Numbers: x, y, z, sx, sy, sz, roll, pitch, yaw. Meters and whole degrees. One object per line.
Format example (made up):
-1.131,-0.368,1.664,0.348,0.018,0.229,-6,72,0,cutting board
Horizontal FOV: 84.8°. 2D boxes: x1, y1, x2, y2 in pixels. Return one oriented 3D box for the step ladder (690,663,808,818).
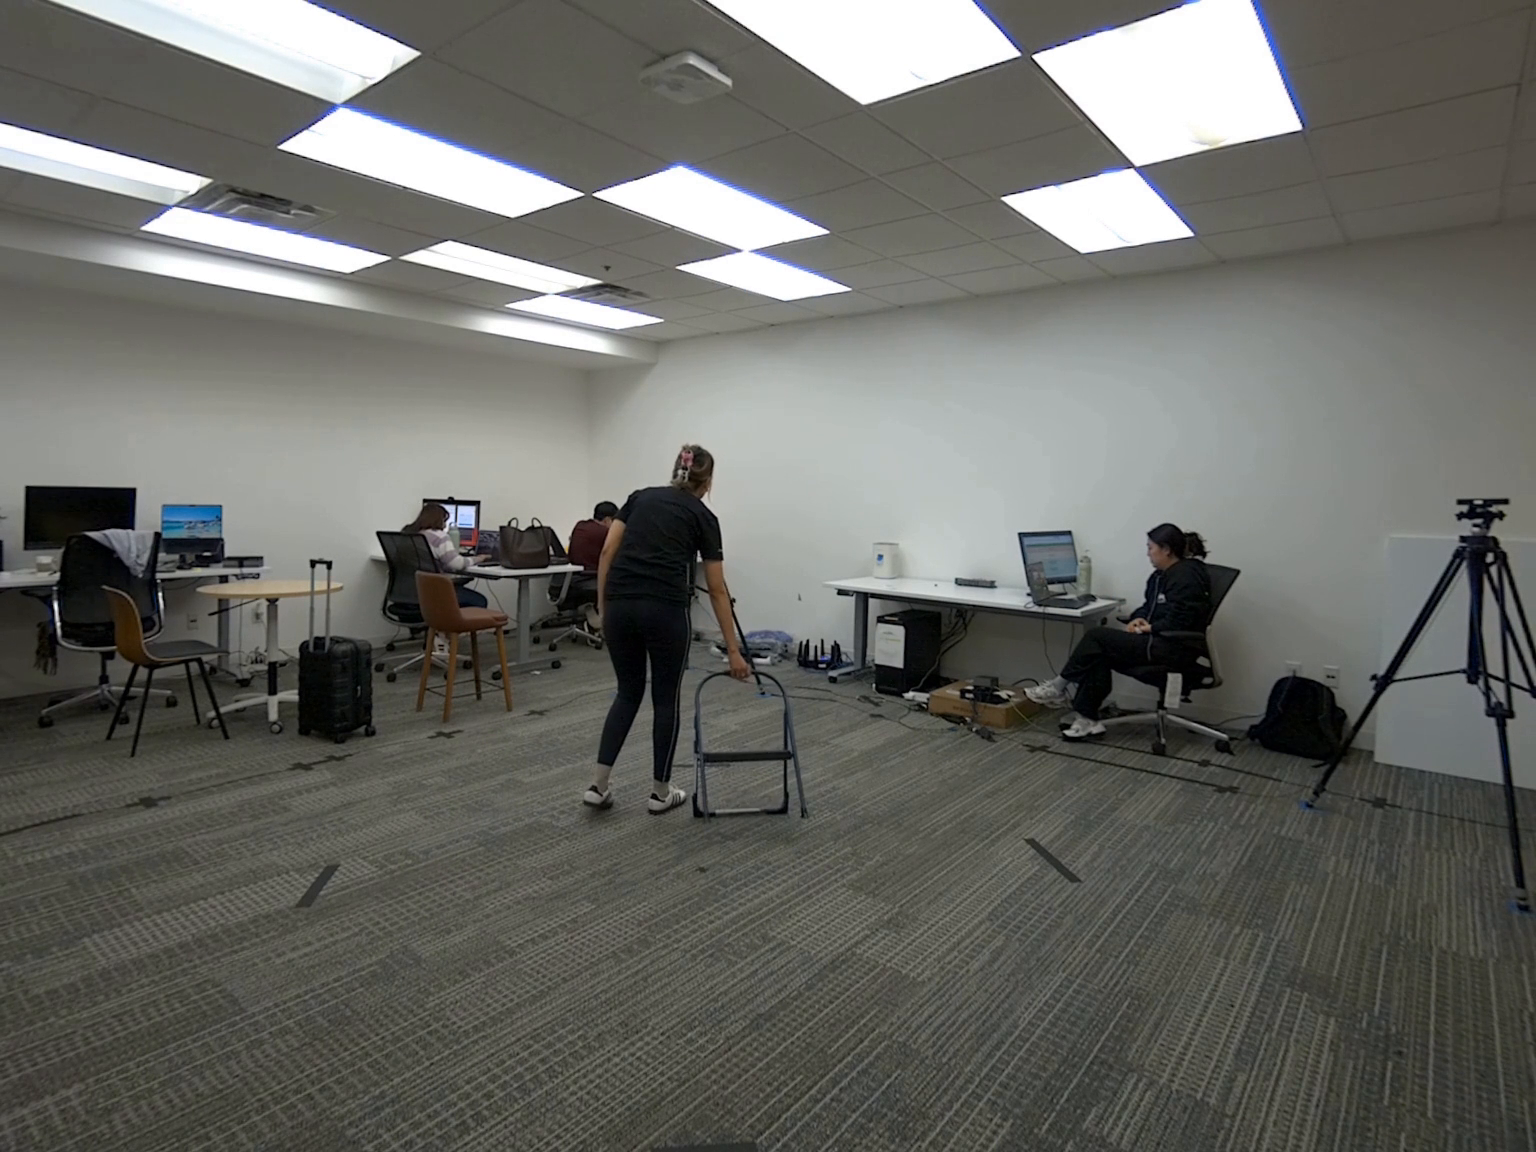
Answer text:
-0.101,0.694,3.565,0.425,0.615,0.348,0,-14,-12,step ladder
